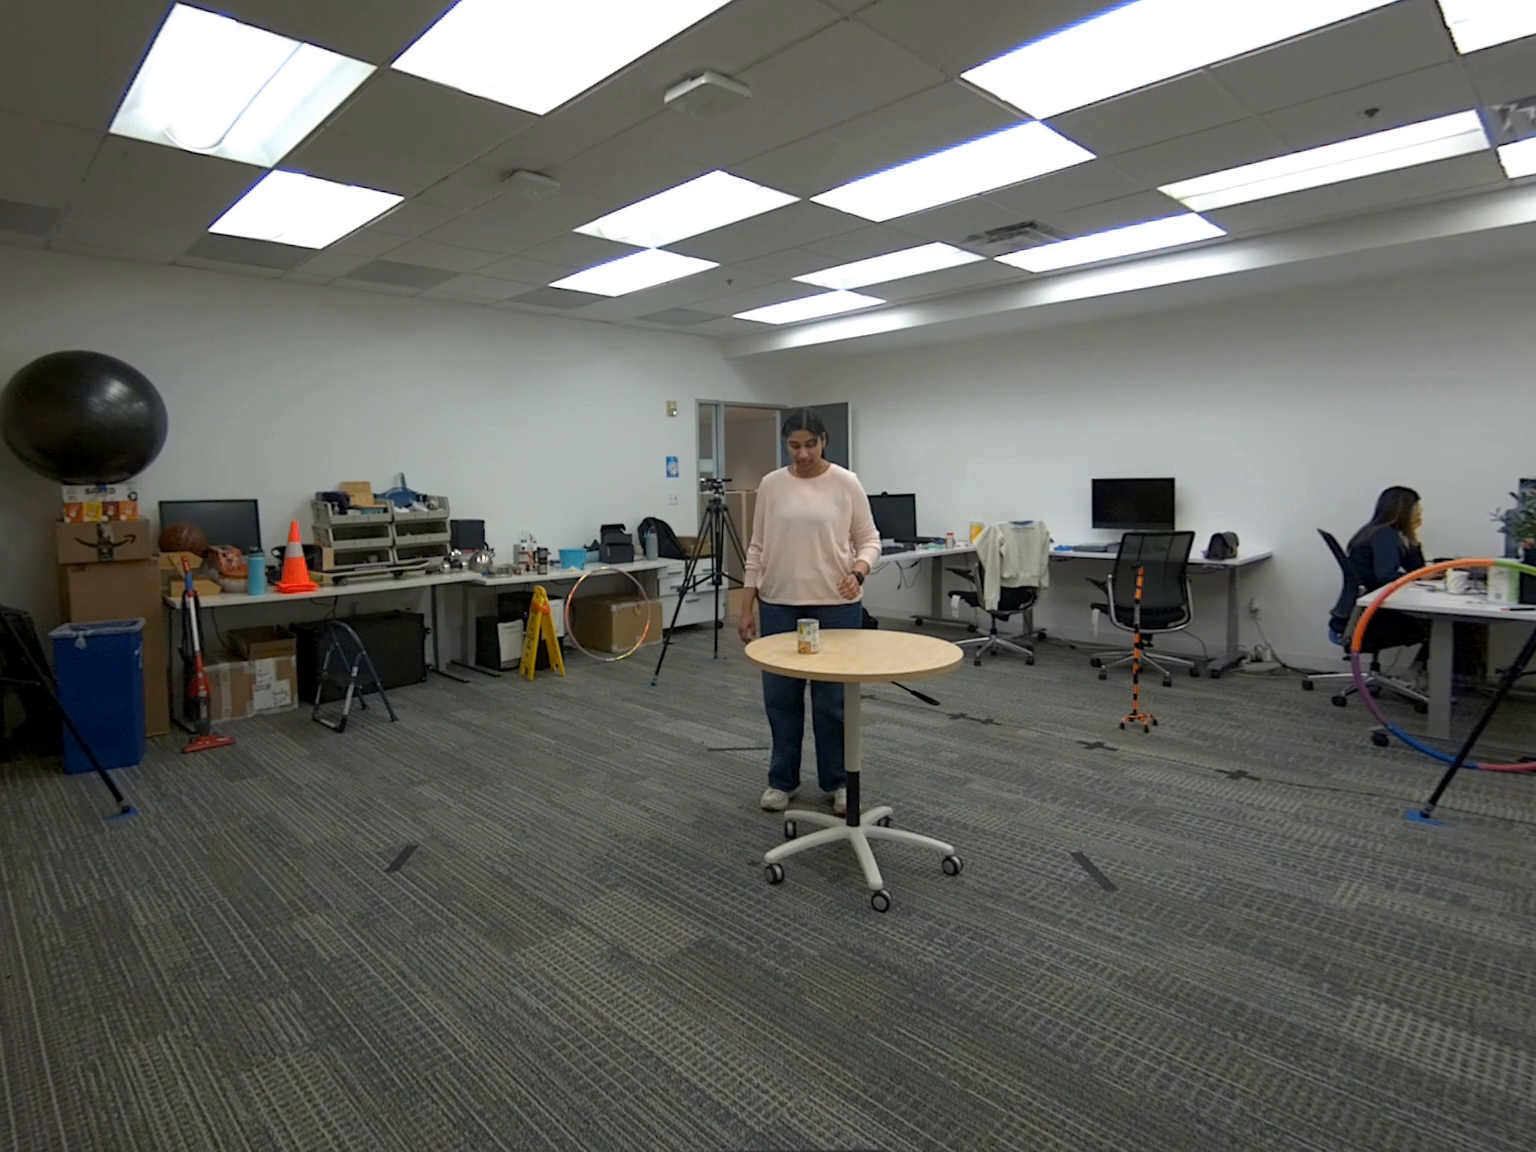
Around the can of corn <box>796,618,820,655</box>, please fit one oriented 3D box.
[{"bbox_3d":[0.144,0.215,2.997,0.074,0.110,0.074,0,5,-2],"label":"can of corn"}]
